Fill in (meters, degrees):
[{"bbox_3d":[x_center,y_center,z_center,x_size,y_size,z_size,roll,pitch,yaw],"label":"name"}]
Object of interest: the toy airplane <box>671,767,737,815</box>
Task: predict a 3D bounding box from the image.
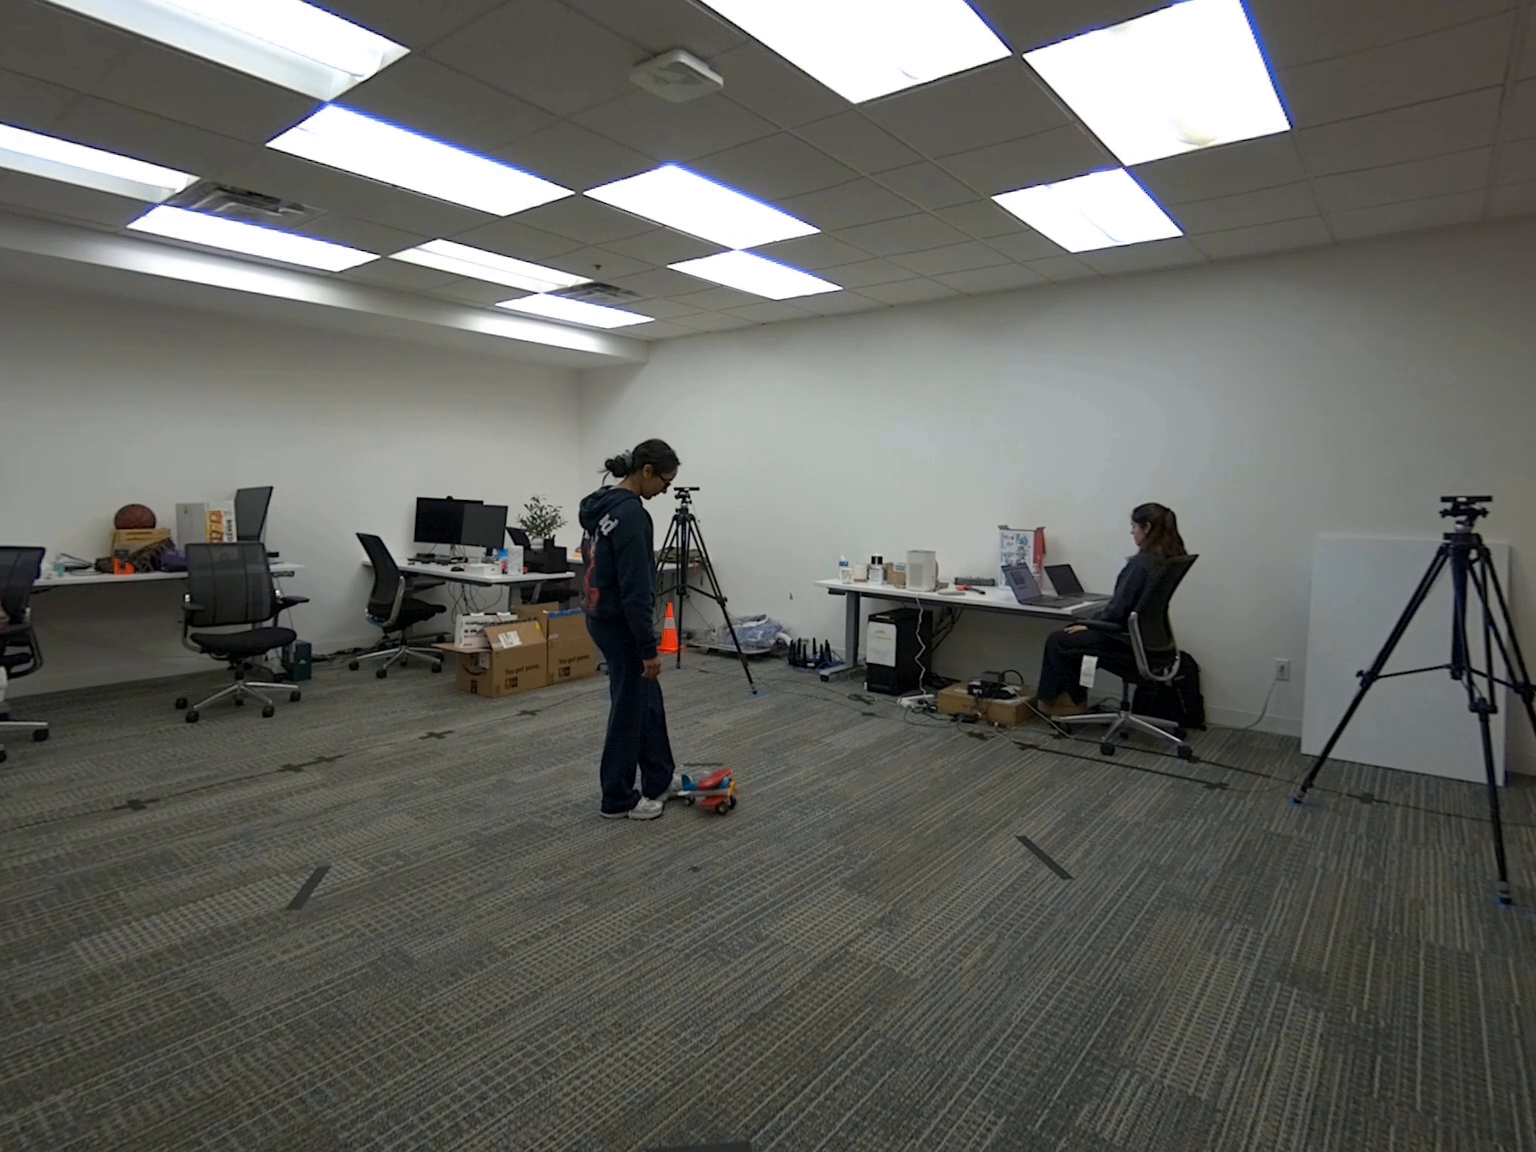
[{"bbox_3d":[-0.273,0.939,3.683,0.258,0.156,0.253,2,4,-6],"label":"toy airplane"}]
